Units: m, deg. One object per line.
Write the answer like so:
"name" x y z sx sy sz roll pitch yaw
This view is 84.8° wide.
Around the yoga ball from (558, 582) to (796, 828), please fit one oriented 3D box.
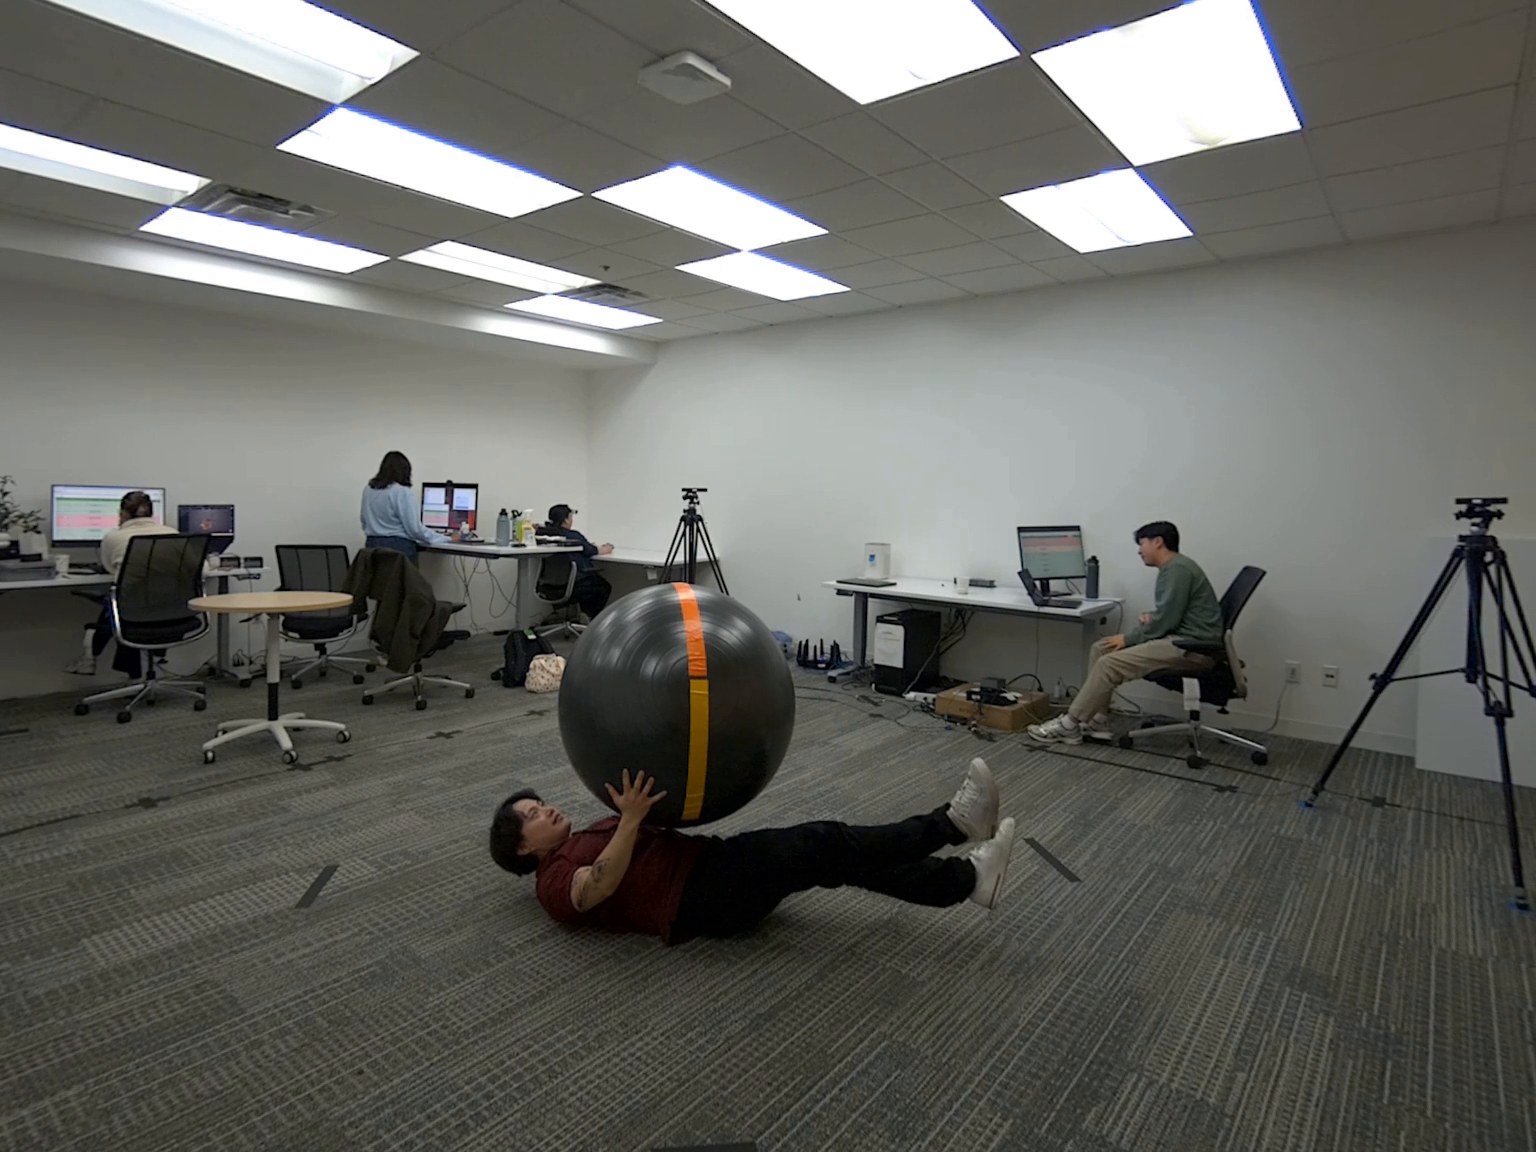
"yoga ball" -0.297 0.405 2.723 0.757 0.755 0.762 1 4 -2
